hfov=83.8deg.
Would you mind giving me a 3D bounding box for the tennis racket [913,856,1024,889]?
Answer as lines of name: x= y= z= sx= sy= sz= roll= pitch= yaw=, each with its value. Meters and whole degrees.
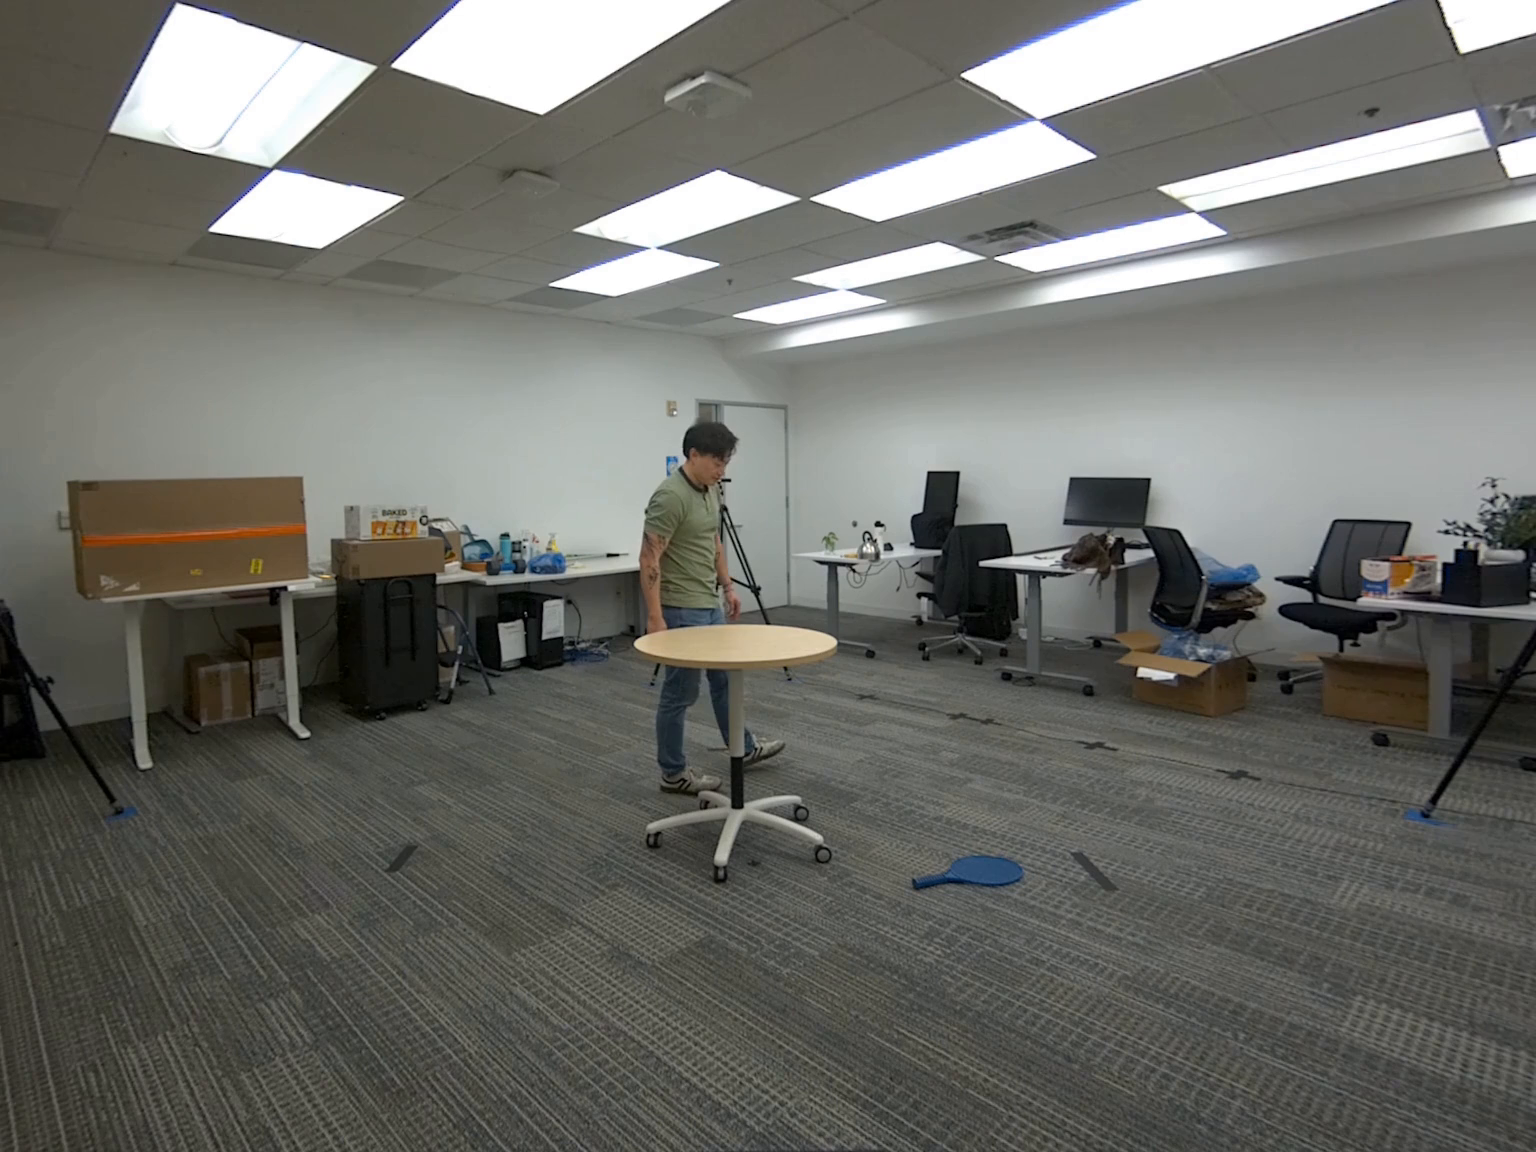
tennis racket: x=0.692 y=1.032 z=2.968 sx=0.424 sy=0.031 sz=0.219 roll=-3 pitch=7 yaw=-25
